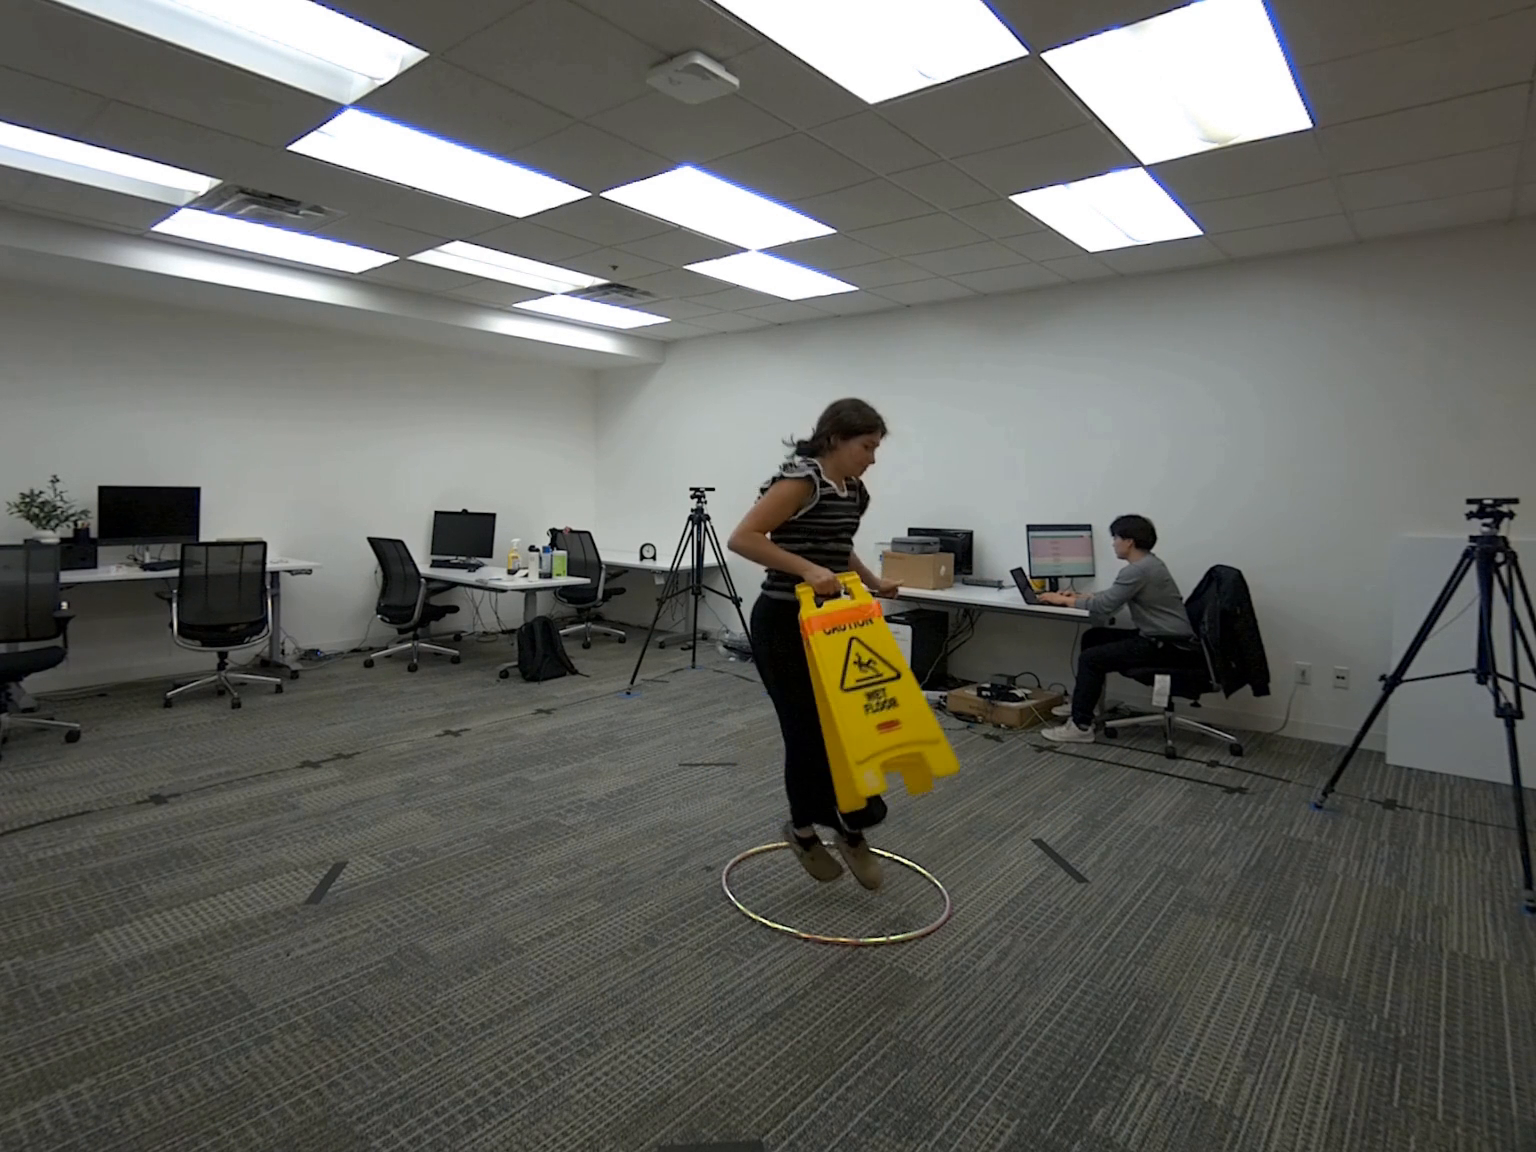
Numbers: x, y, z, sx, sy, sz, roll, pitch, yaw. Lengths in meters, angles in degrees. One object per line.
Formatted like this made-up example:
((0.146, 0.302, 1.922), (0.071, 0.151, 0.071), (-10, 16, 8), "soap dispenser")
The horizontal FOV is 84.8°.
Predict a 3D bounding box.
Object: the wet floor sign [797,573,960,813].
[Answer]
((0.253, 0.336, 2.443), (0.280, 0.664, 0.284), (-10, -25, -10), "wet floor sign")
